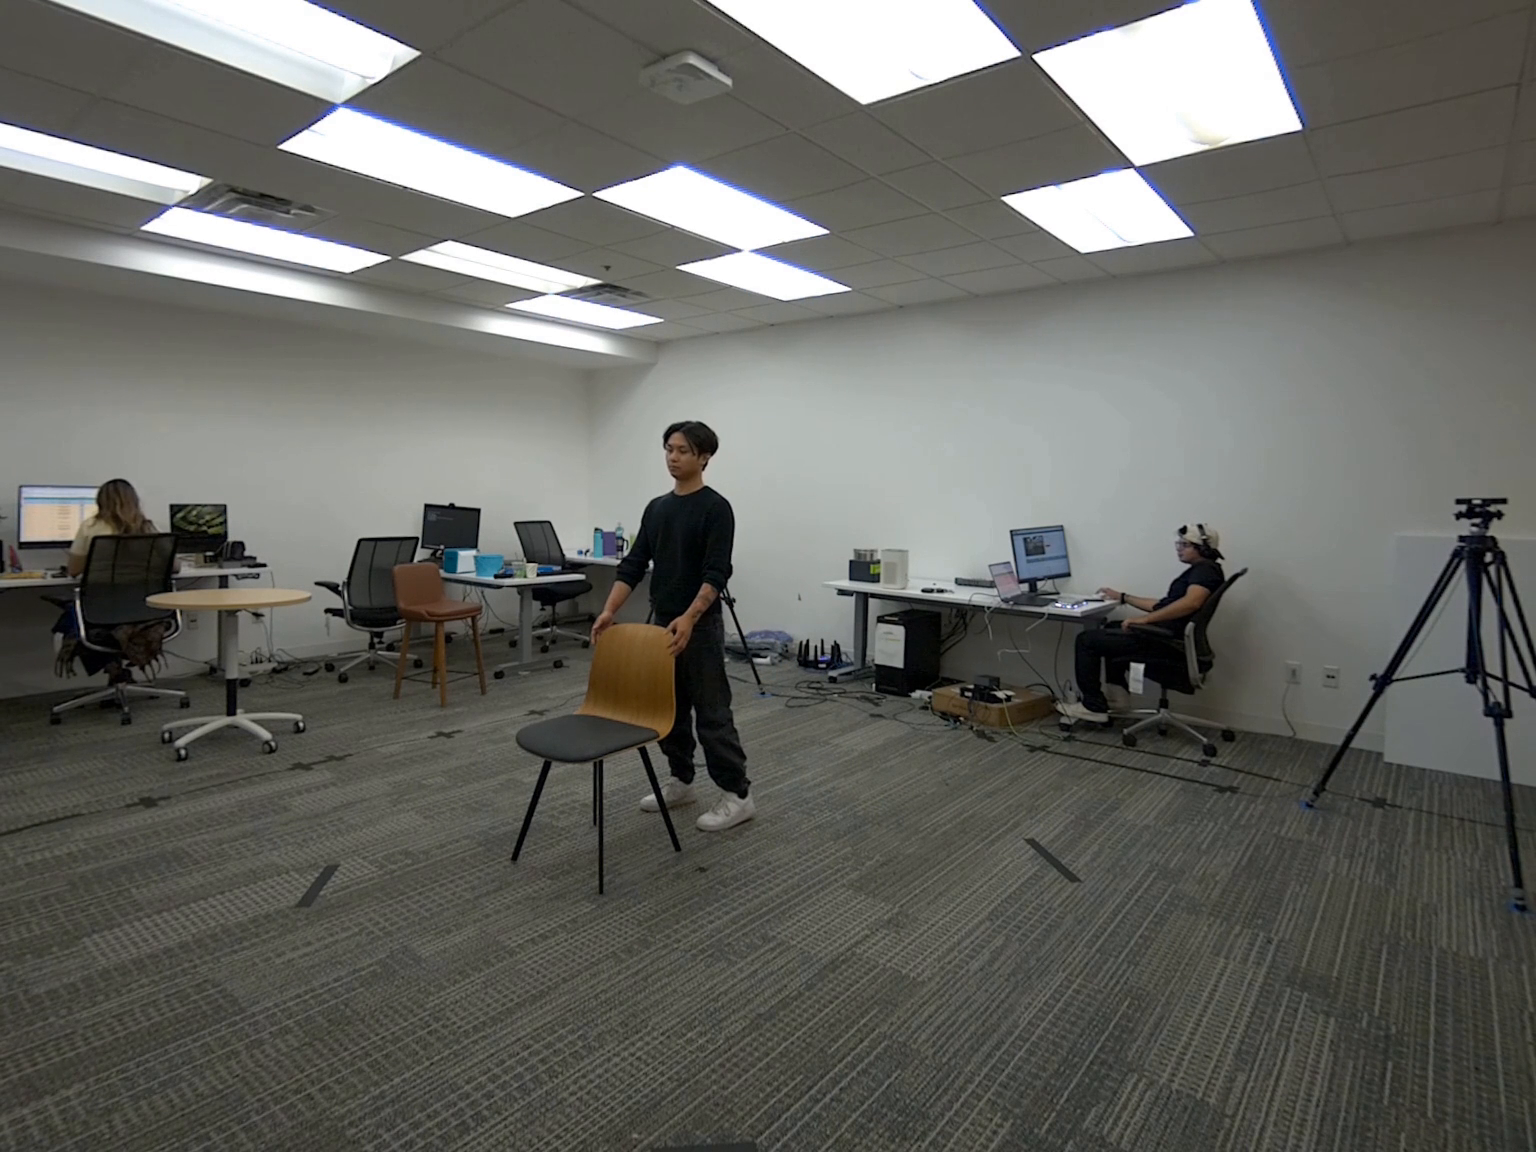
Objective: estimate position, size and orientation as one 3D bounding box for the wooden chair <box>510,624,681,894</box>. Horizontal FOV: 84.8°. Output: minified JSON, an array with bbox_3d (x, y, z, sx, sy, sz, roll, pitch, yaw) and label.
[{"bbox_3d":[-0.644,0.626,3.171,0.493,0.878,0.507,3,-1,33],"label":"wooden chair"}]
